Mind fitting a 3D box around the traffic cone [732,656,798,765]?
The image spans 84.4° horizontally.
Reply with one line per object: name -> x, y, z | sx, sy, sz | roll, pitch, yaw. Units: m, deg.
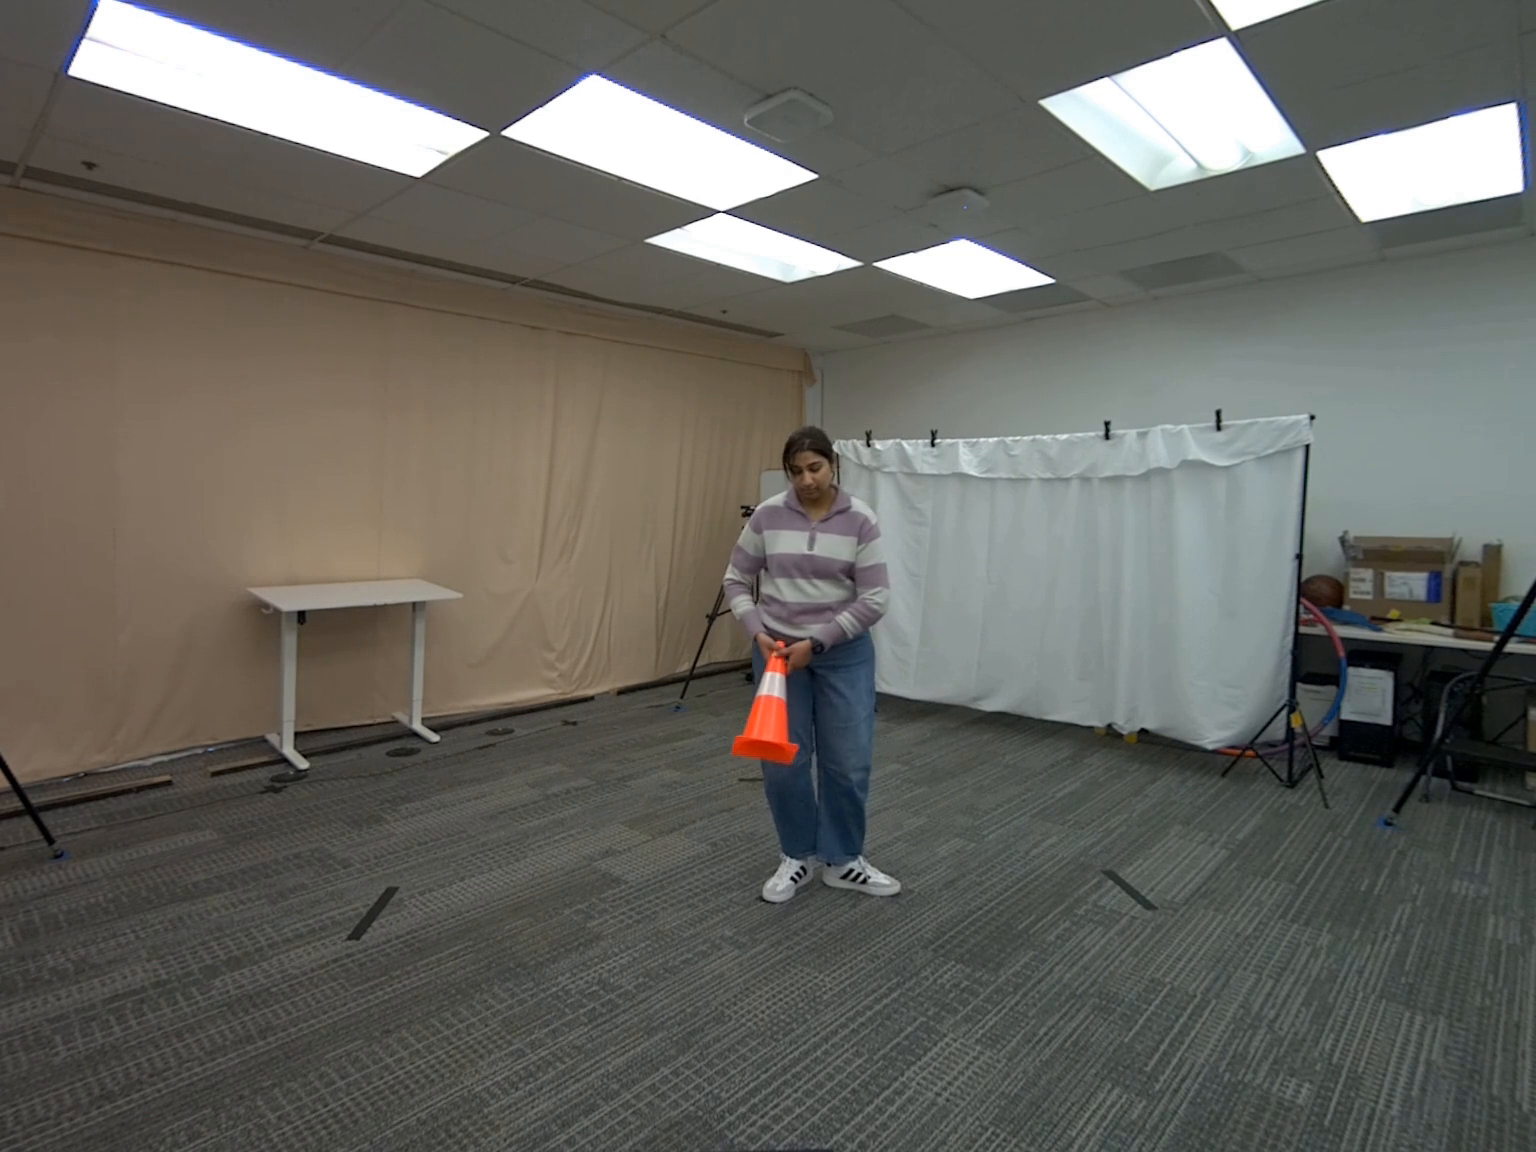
traffic cone -> 0.024, 0.393, 2.783 | 0.205, 0.387, 0.201 | 12, -30, 0
